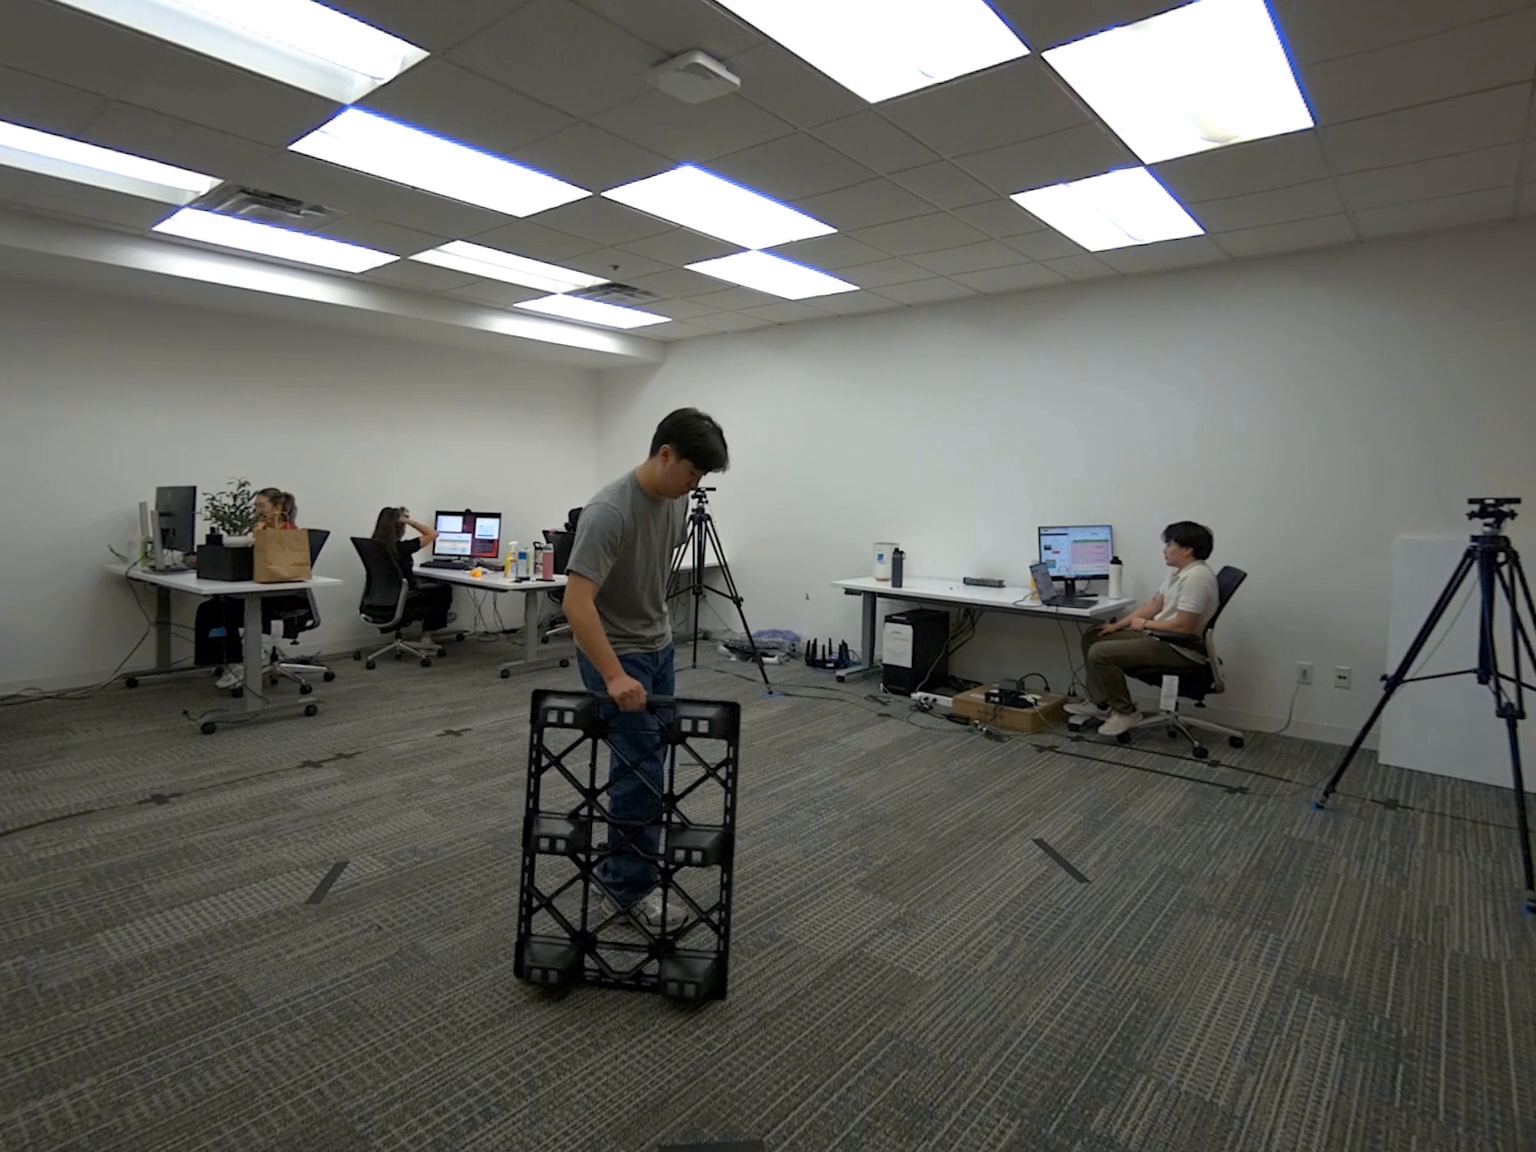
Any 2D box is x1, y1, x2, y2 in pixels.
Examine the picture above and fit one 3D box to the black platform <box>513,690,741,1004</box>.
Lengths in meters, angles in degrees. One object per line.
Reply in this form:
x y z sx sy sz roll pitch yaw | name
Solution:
-0.403 0.734 2.338 0.608 0.808 0.142 2 -3 5 | black platform
